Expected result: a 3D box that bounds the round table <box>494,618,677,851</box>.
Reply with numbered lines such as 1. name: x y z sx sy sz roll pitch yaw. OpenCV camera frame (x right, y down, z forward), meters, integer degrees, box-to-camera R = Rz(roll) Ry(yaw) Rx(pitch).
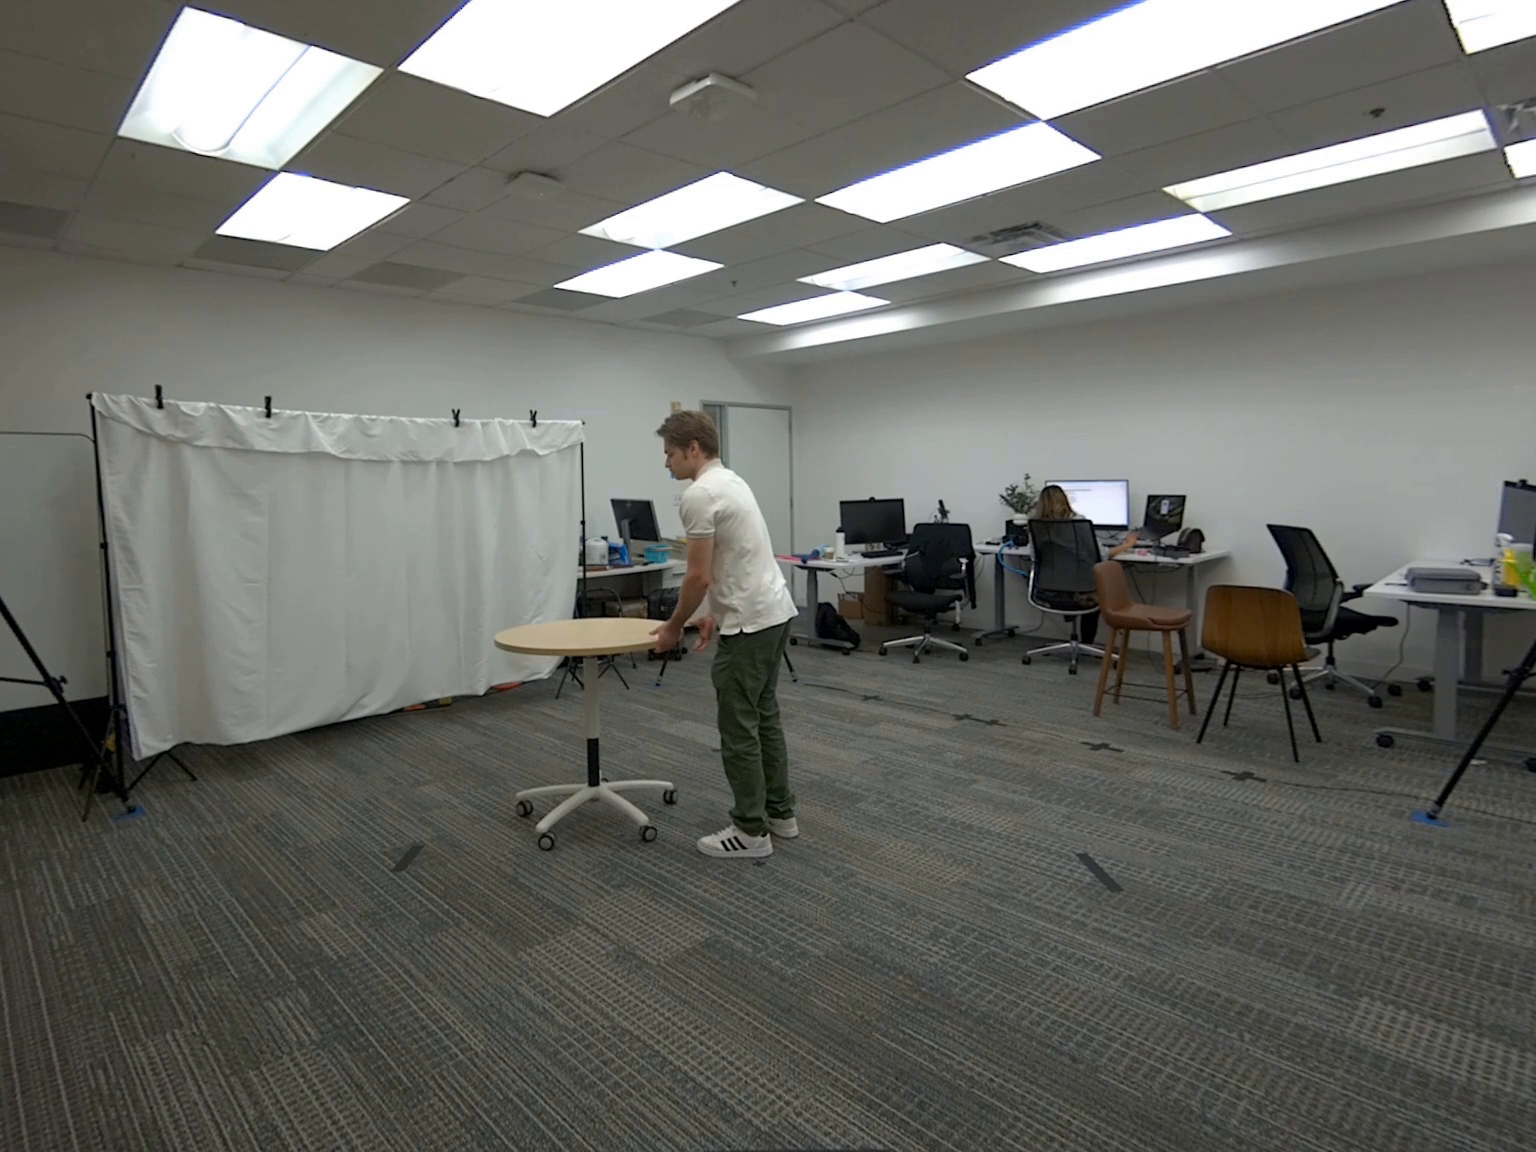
1. round table: -0.723 0.623 3.551 0.763 0.791 0.767 -1 4 -2
